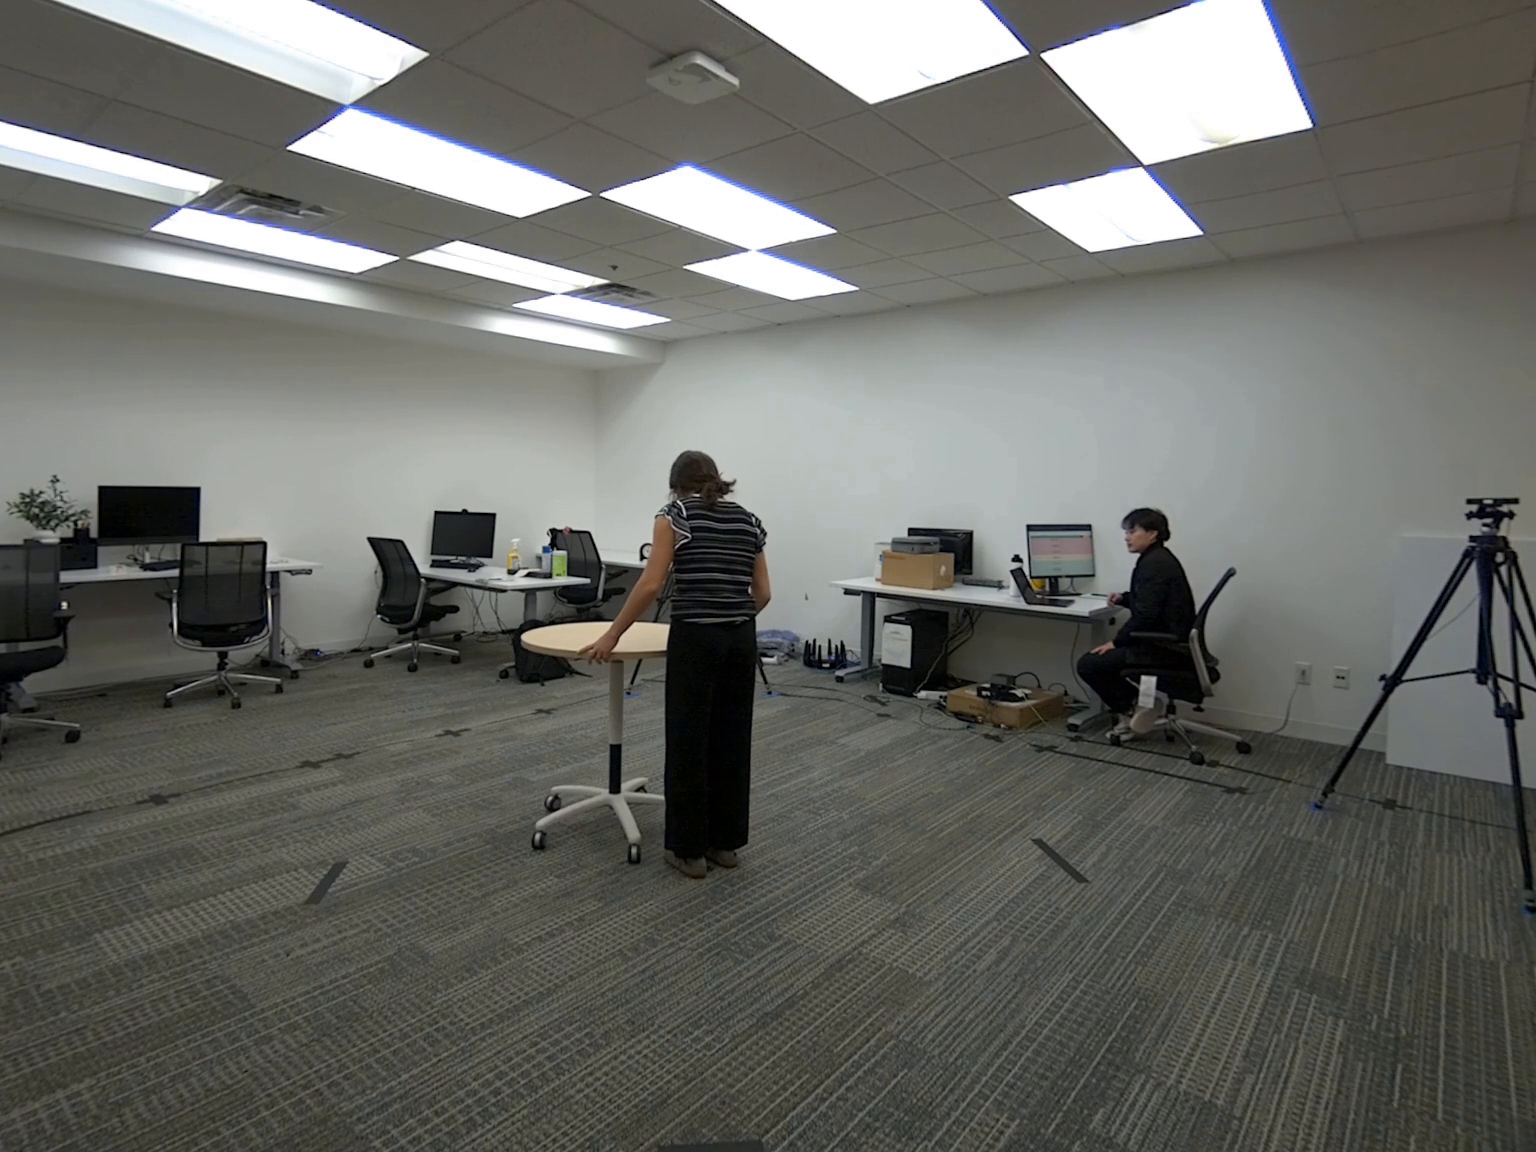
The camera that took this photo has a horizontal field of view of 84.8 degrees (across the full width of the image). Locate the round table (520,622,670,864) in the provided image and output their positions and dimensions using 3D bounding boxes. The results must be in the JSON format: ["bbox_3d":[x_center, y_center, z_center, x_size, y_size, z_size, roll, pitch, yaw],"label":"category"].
[{"bbox_3d":[-0.623,0.630,3.462,0.784,0.784,0.789,0,4,-2],"label":"round table"}]
